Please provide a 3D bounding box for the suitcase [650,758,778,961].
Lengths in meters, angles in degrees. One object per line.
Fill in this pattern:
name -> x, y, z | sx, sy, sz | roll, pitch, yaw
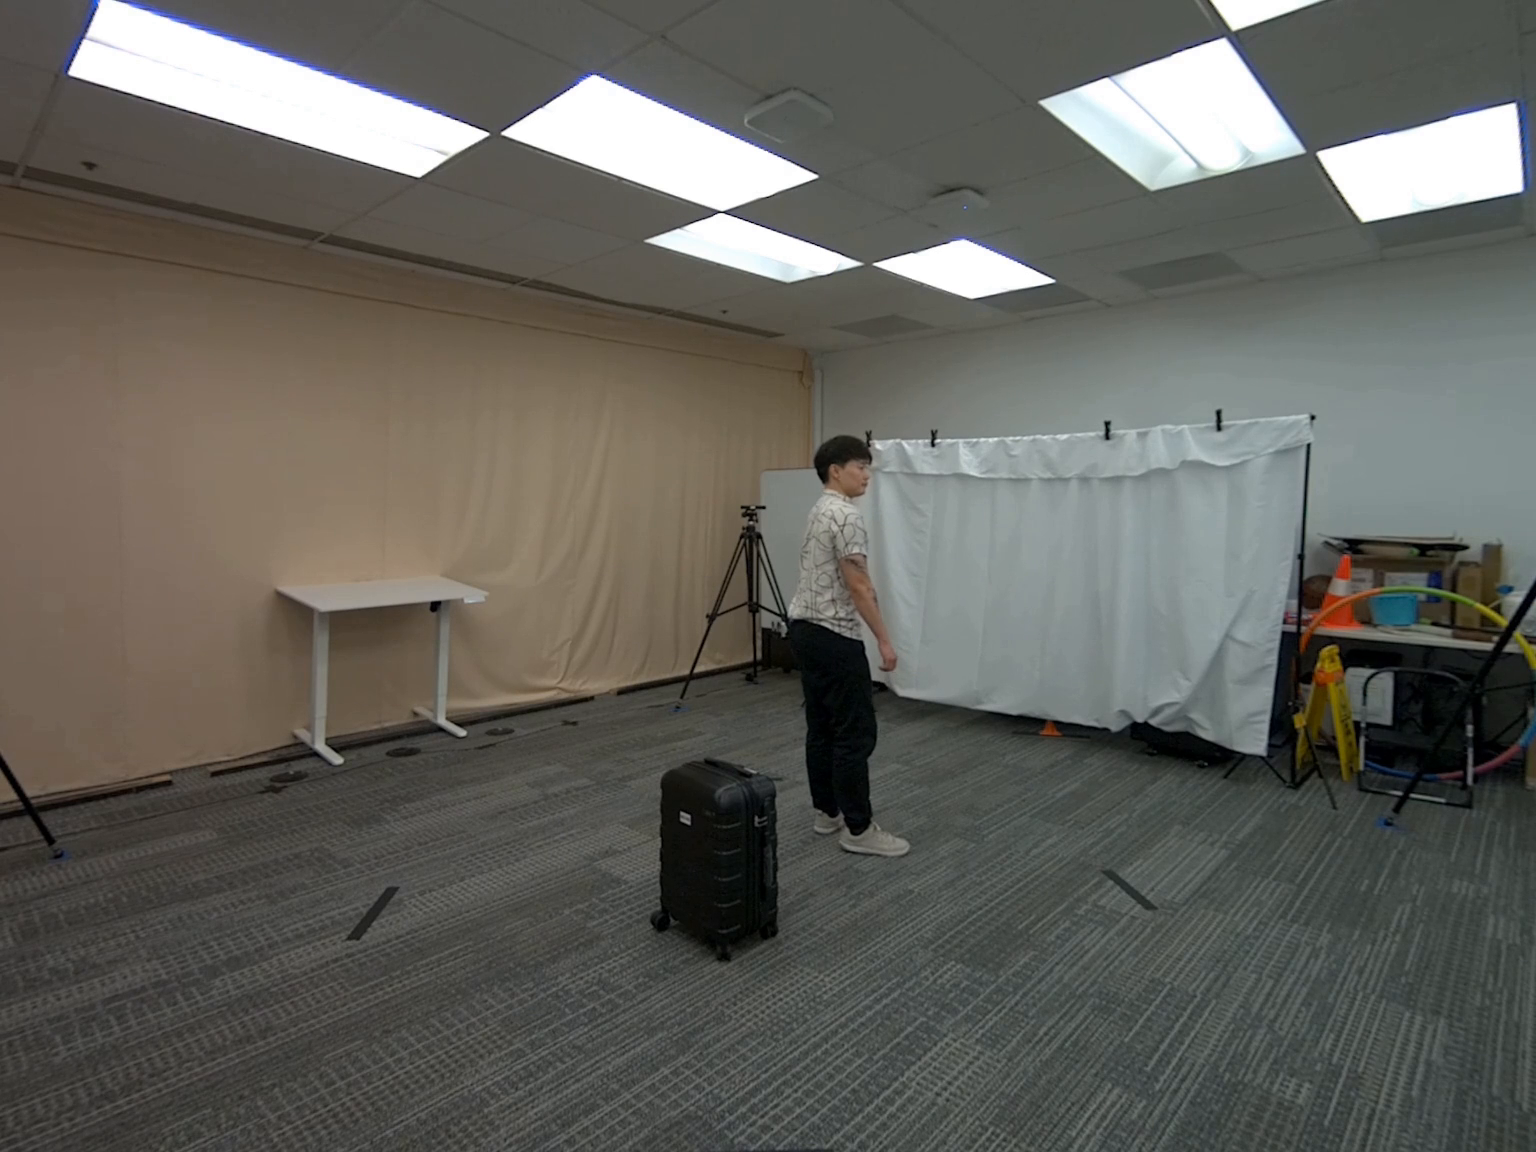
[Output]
suitcase -> -0.157, 0.889, 2.726 | 0.241, 0.548, 0.388 | -3, 5, -43
